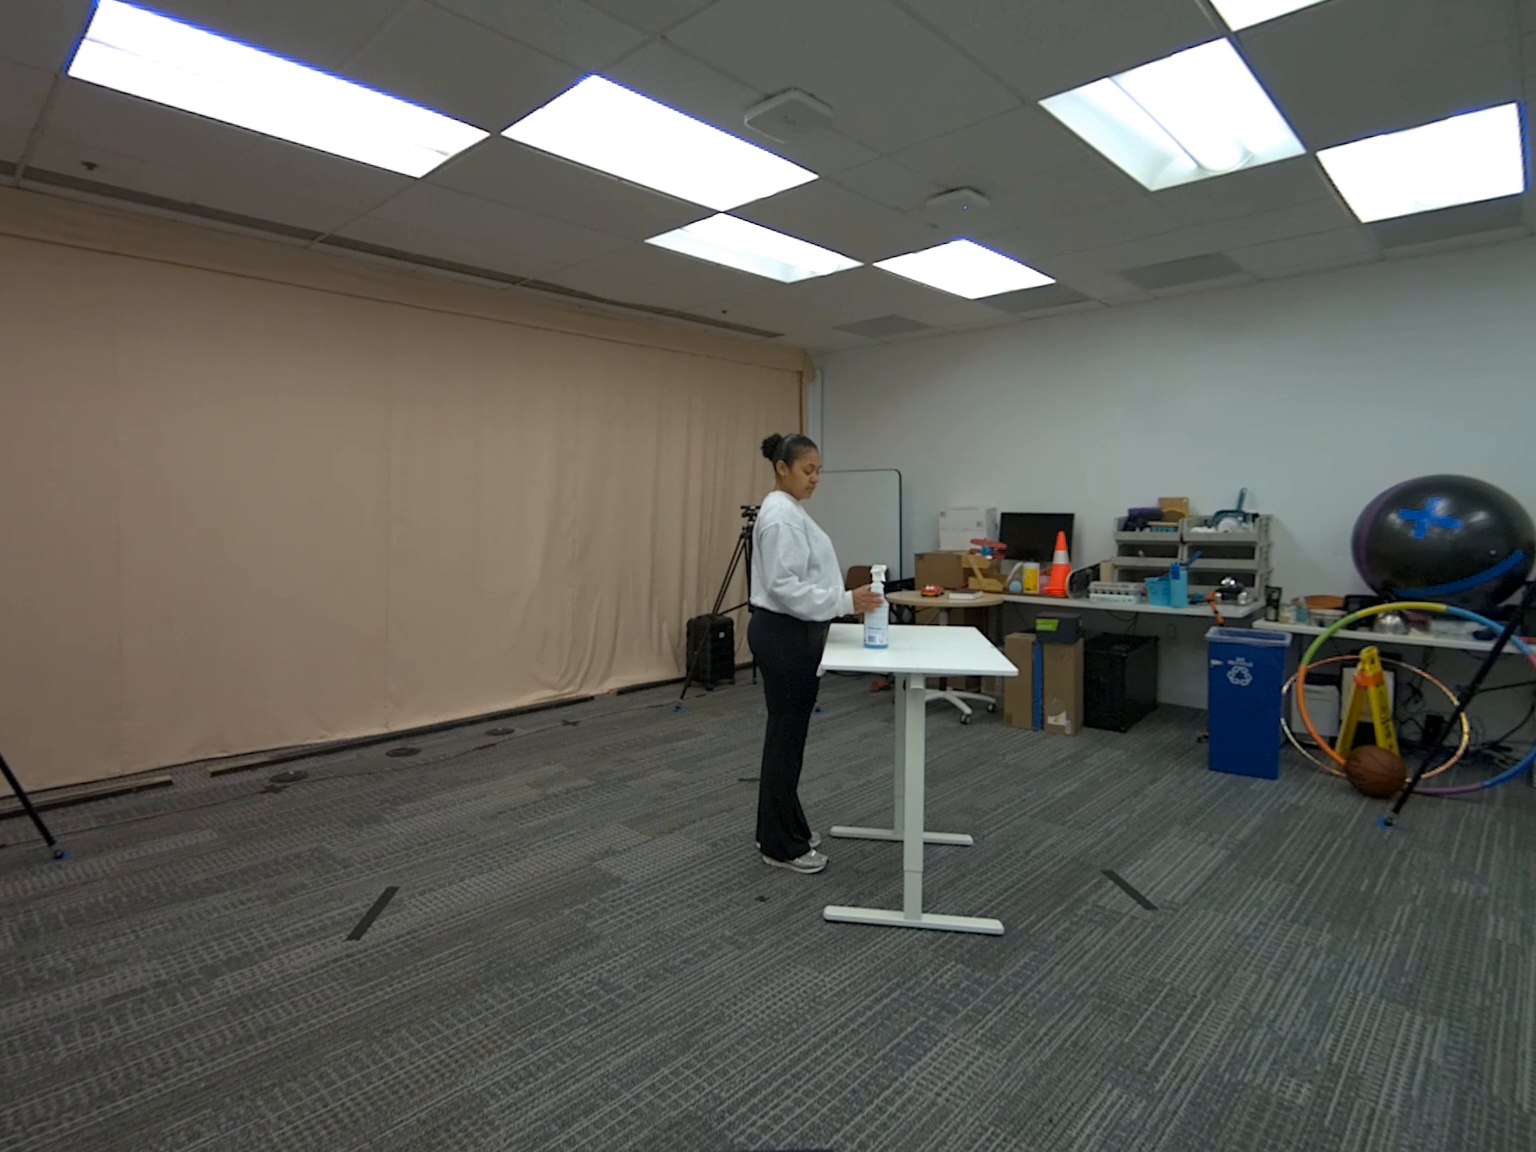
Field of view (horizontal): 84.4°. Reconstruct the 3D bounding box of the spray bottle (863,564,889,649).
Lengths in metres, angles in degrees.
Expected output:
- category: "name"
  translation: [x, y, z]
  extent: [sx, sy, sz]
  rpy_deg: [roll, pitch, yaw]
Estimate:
- category: "spray bottle"
  translation: [0.394, 0.110, 3.015]
  extent: [0.088, 0.296, 0.089]
  rpy_deg: [-1, 4, 6]
